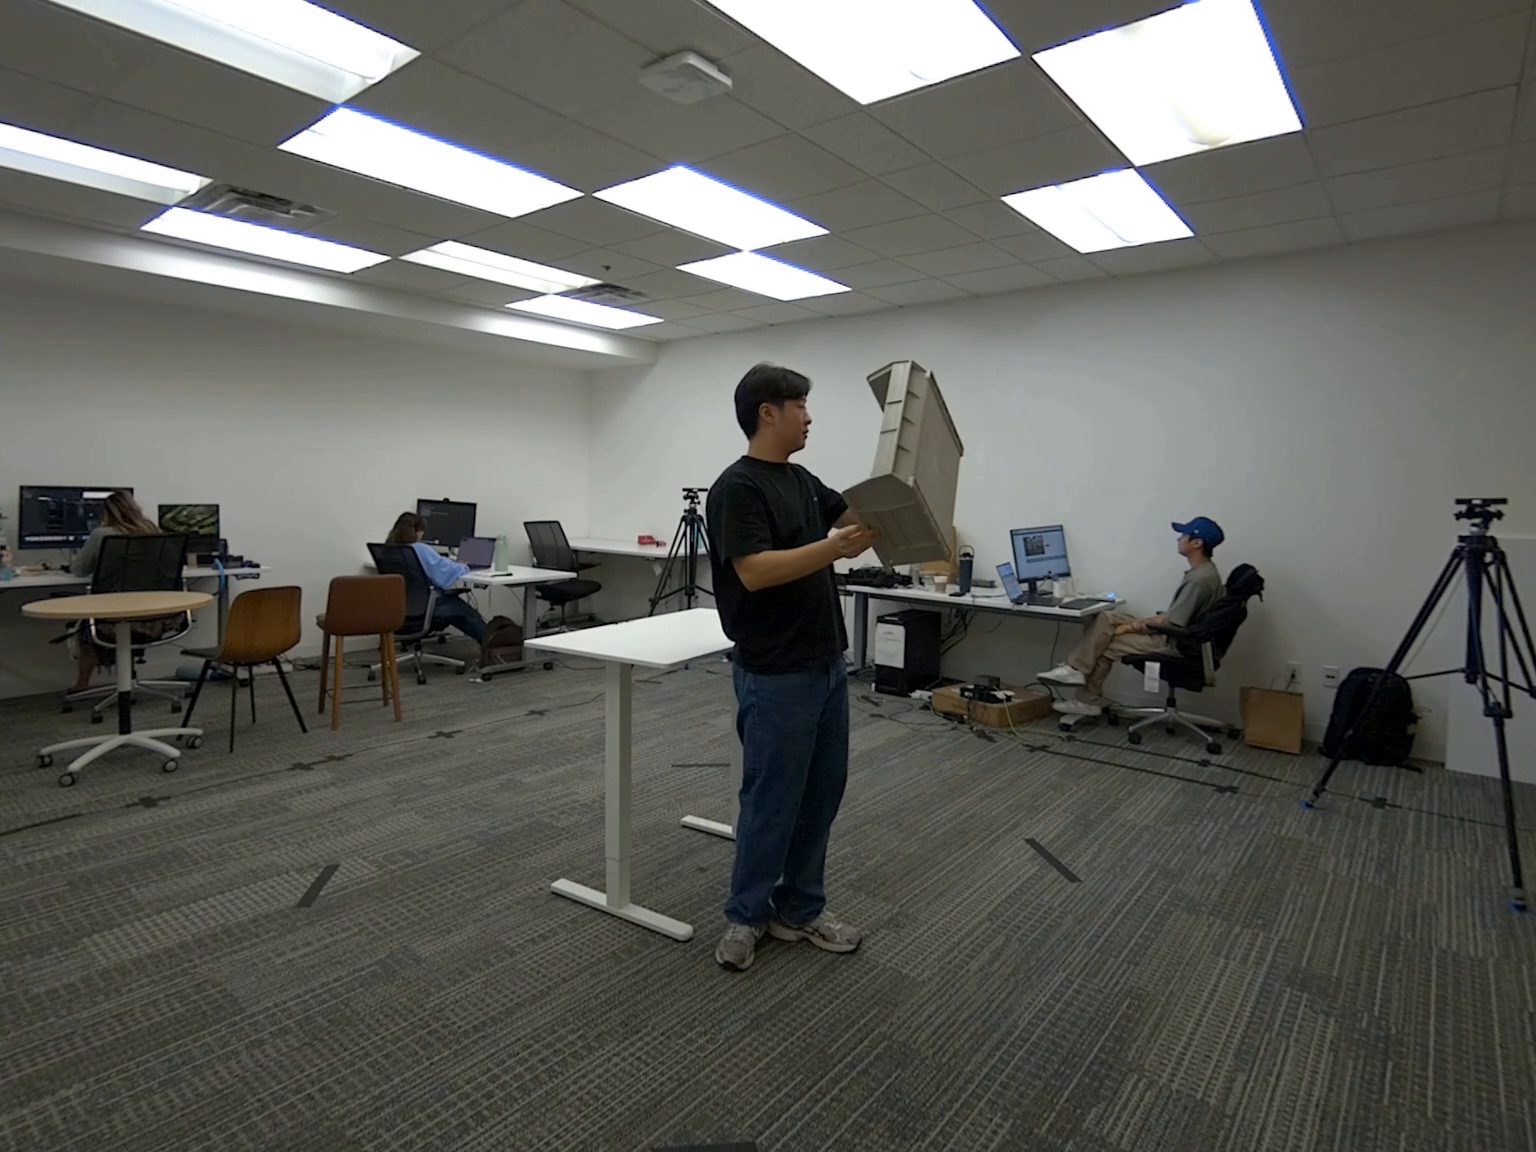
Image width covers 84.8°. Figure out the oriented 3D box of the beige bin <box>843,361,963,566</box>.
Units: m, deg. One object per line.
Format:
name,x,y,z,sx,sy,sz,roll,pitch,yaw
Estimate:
beige bin,0.352,-0.294,2.265,0.194,0.429,0.362,-7,-40,30
